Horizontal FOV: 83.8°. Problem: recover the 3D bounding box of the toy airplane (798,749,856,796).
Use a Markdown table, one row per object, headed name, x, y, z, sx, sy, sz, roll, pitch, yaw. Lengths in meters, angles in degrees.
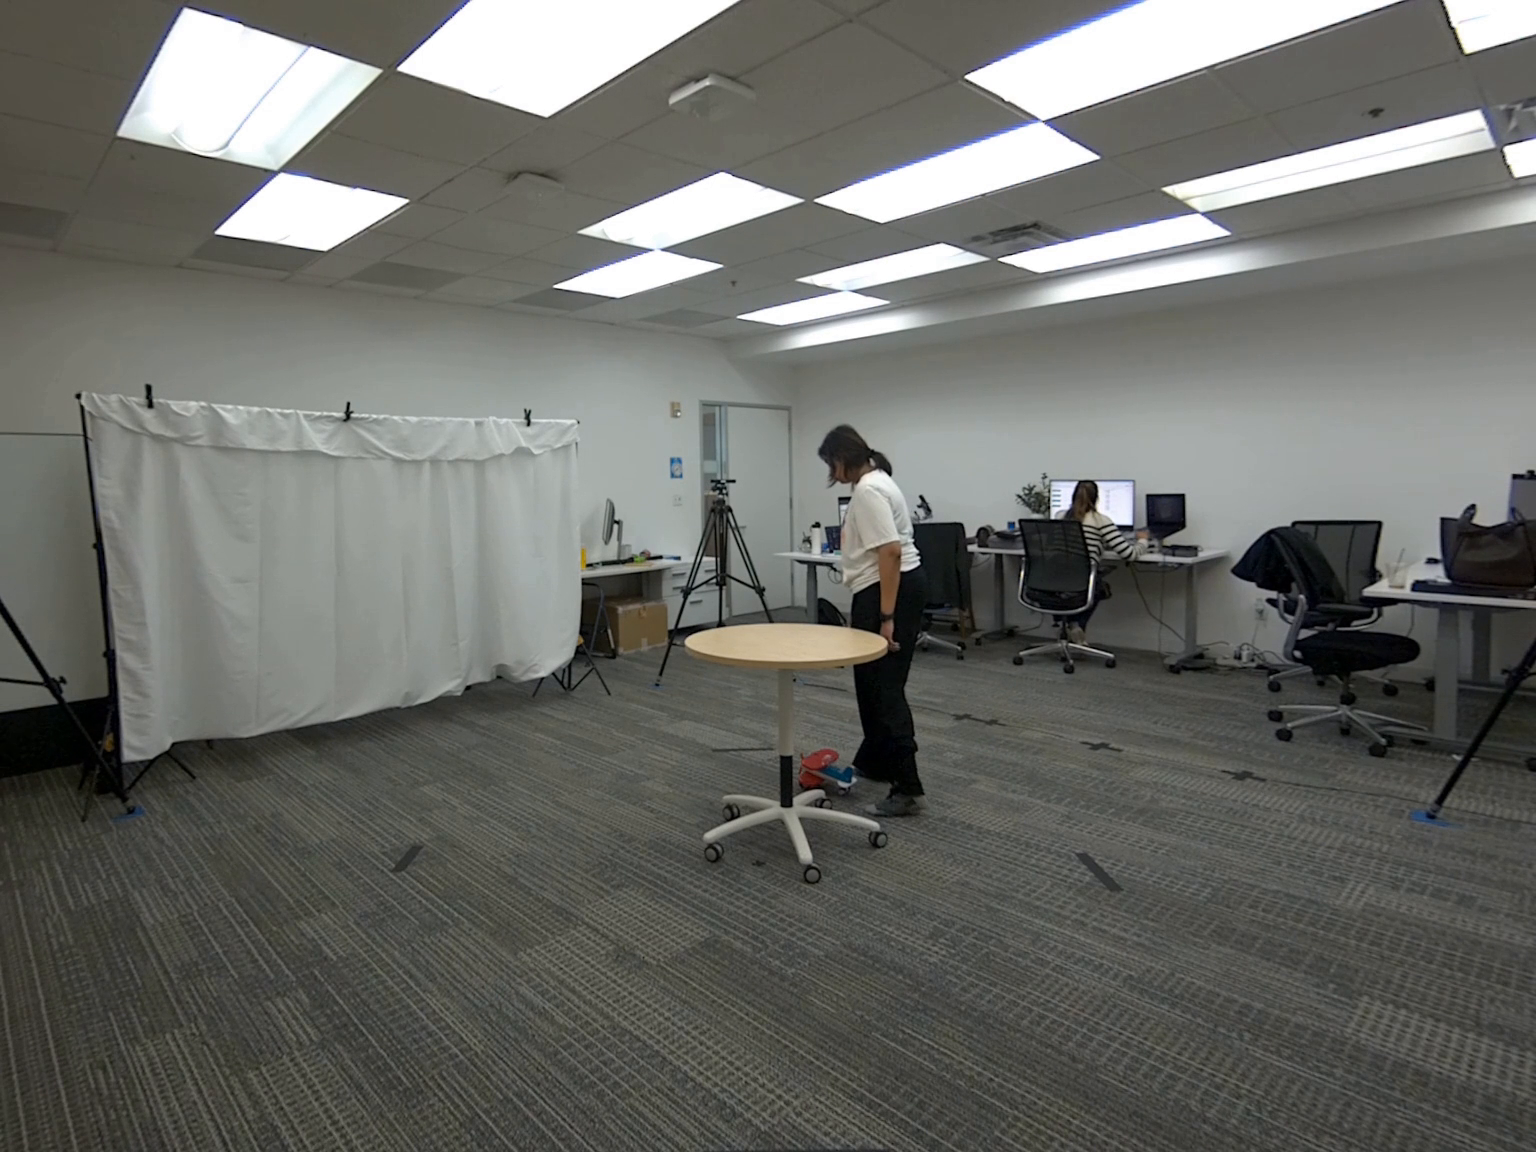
| name | x | y | z | sx | sy | sz | roll | pitch | yaw |
| --- | --- | --- | --- | --- | --- | --- | --- | --- | --- |
| toy airplane | 0.271 | 0.885 | 3.856 | 0.261 | 0.156 | 0.250 | 0 | 4 | 7 |
